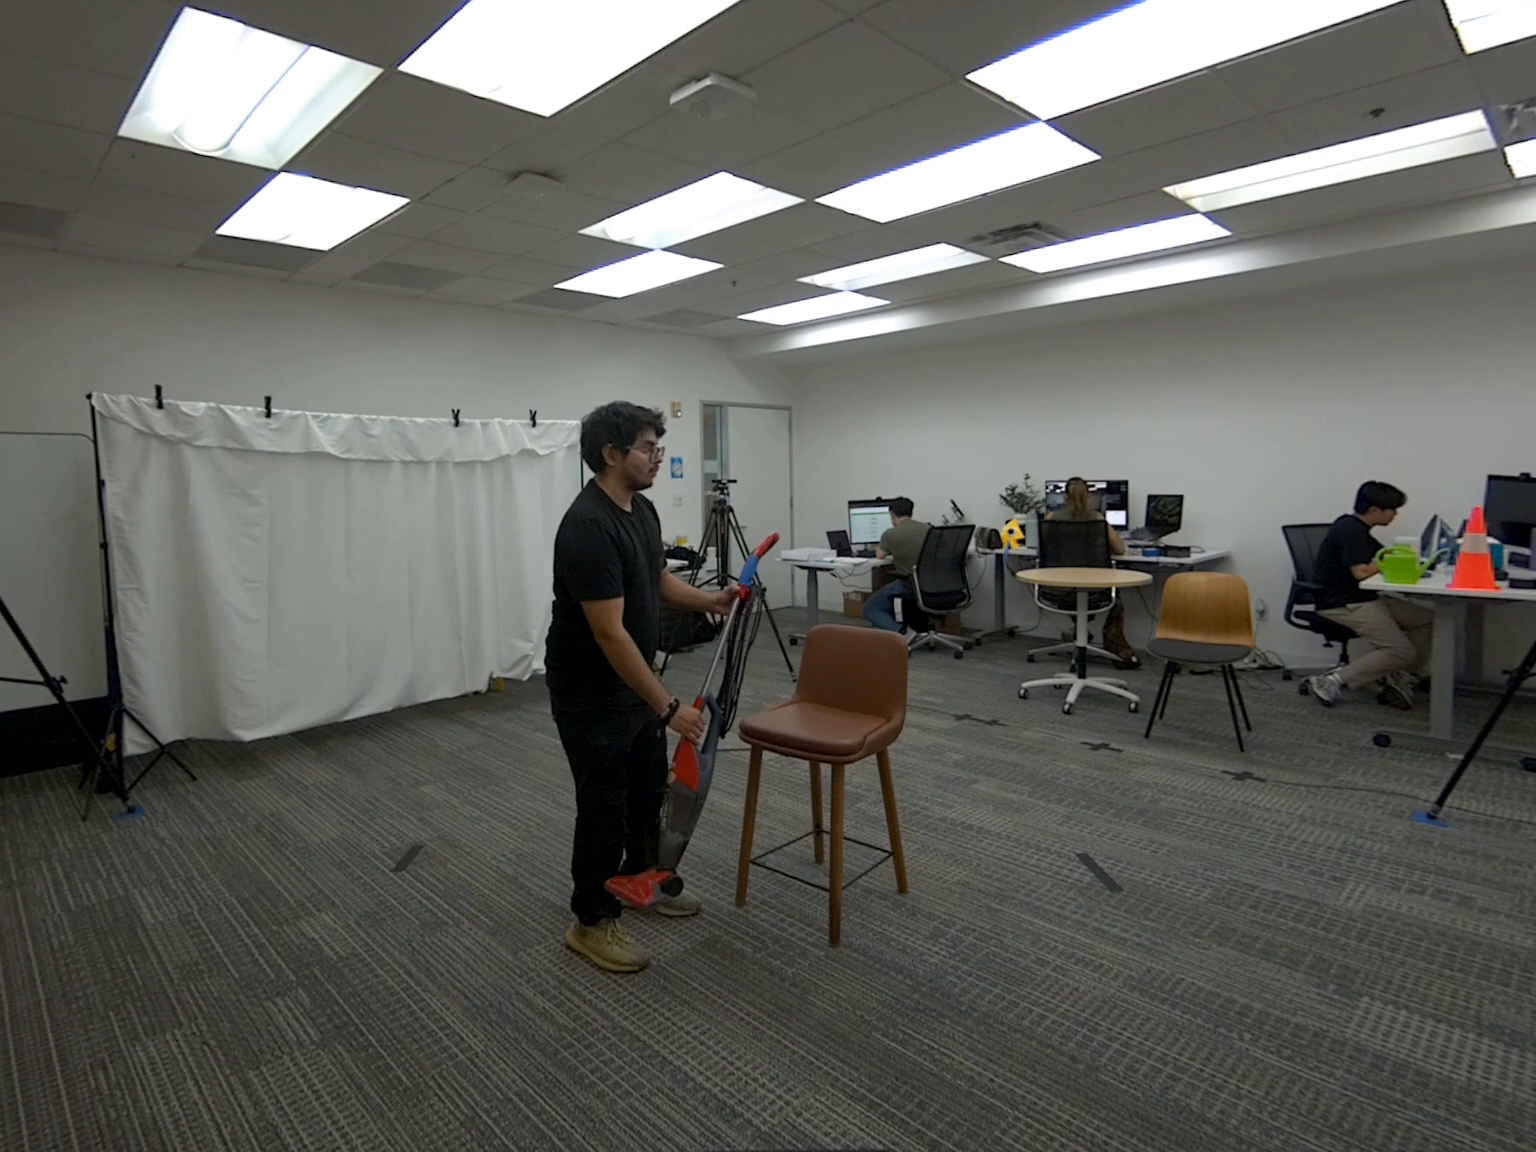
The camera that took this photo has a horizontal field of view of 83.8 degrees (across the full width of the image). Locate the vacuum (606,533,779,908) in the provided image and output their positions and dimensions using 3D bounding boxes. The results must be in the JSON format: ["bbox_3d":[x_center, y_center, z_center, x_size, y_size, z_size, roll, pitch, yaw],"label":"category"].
[{"bbox_3d":[-0.140,0.358,2.377,0.139,1.060,0.258,31,-23,-29],"label":"vacuum"}]
